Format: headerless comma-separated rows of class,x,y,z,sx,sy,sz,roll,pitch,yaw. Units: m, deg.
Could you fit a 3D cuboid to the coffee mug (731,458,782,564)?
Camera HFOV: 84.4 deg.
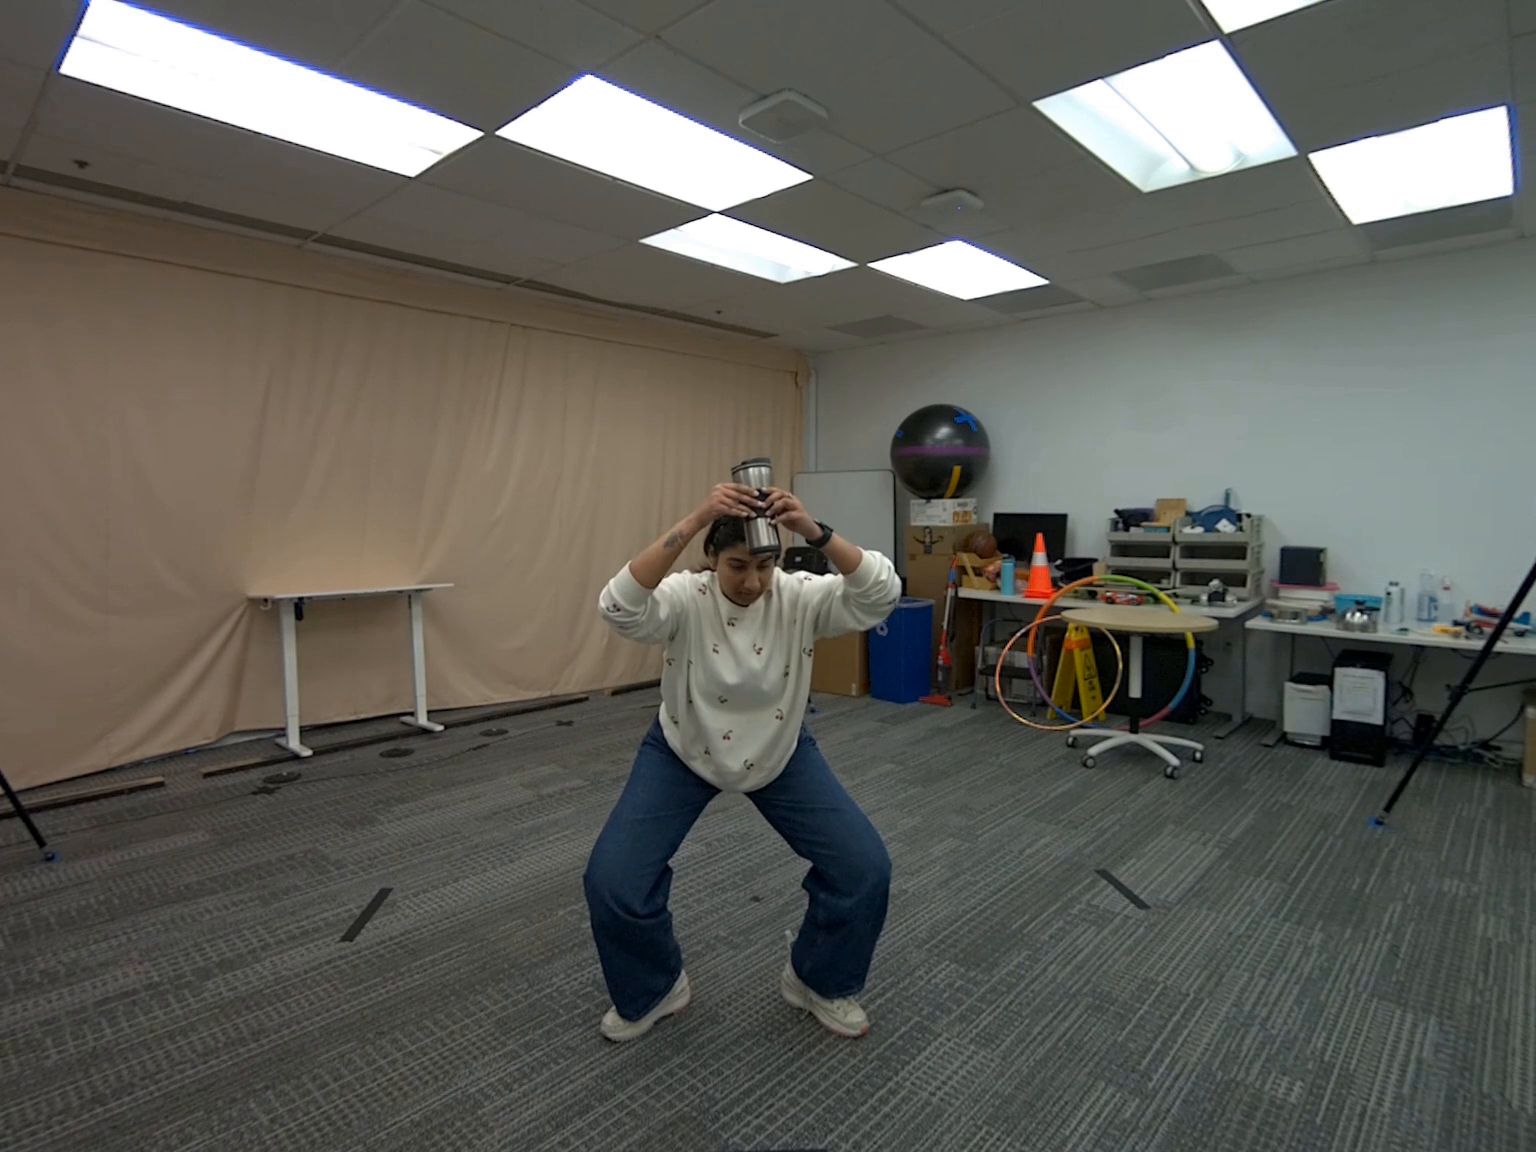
coffee mug,-0.012,-0.143,1.762,0.087,0.205,0.122,-5,-15,-14
